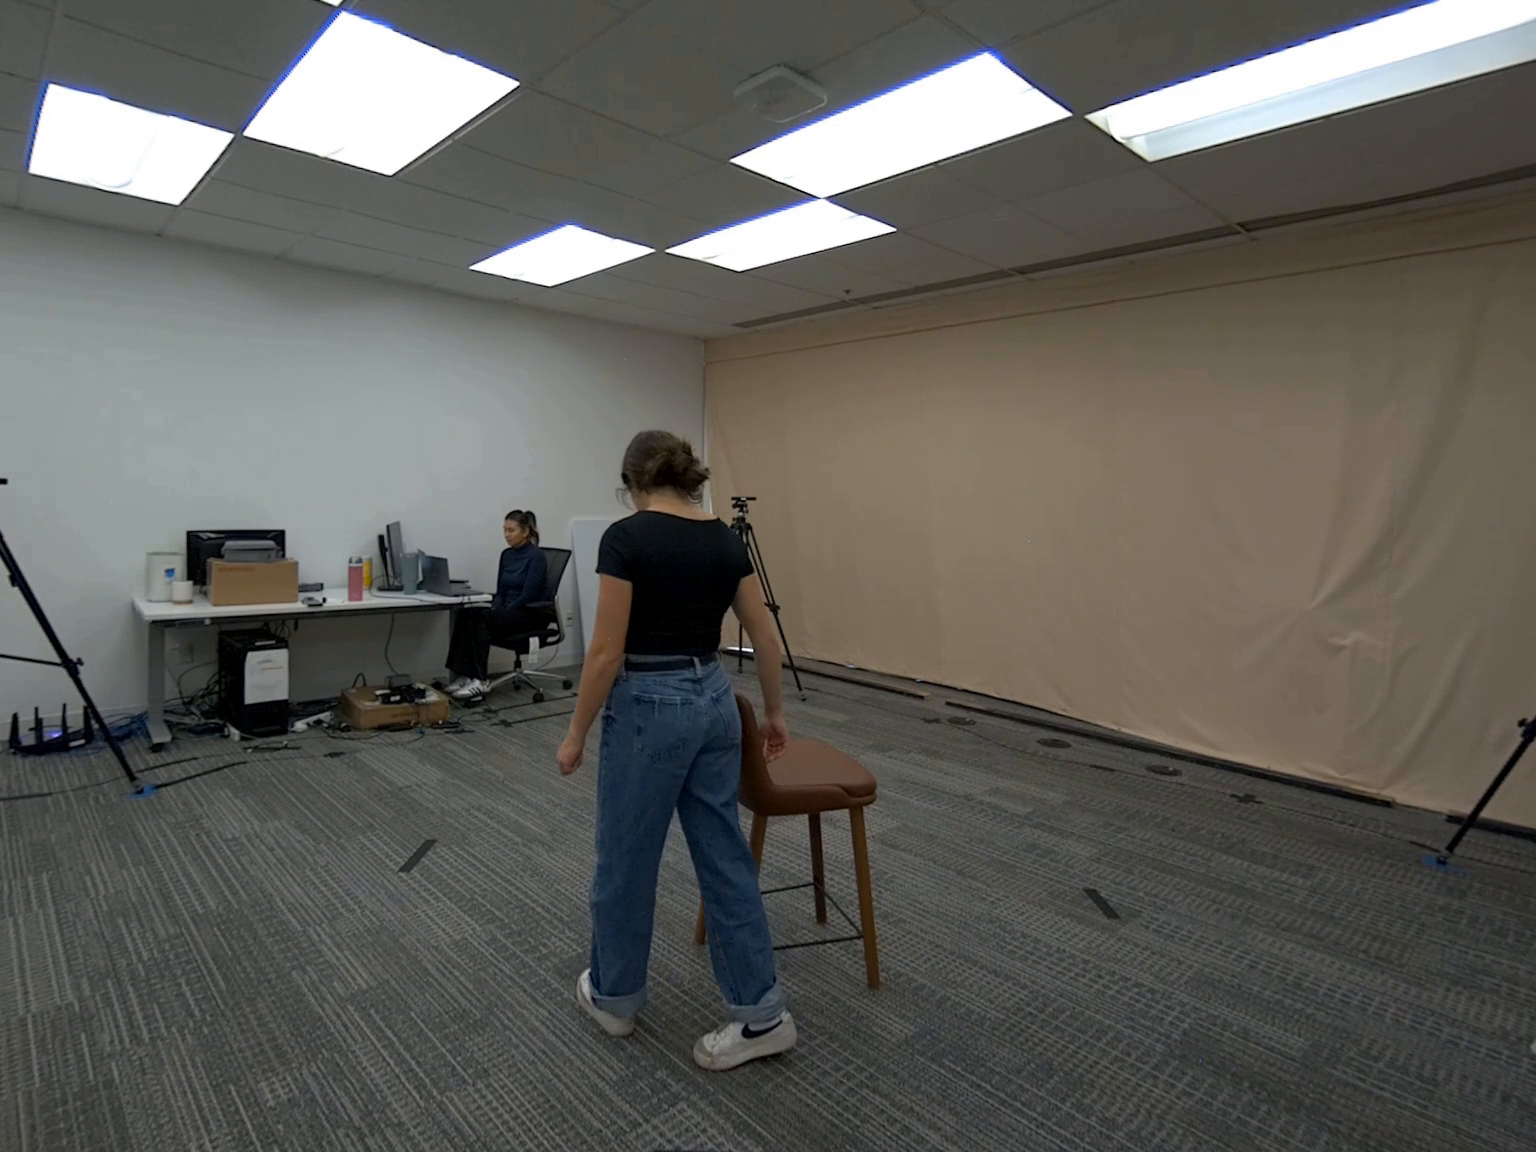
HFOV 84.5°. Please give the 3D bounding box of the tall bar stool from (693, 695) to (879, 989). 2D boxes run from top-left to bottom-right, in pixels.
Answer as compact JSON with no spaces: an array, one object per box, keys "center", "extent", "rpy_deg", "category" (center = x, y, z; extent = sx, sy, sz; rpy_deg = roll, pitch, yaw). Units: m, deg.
[{"center":[0.044,0.732,2.507],"extent":[0.461,0.887,0.464],"rpy_deg":[-2,4,-19],"category":"tall bar stool"}]
